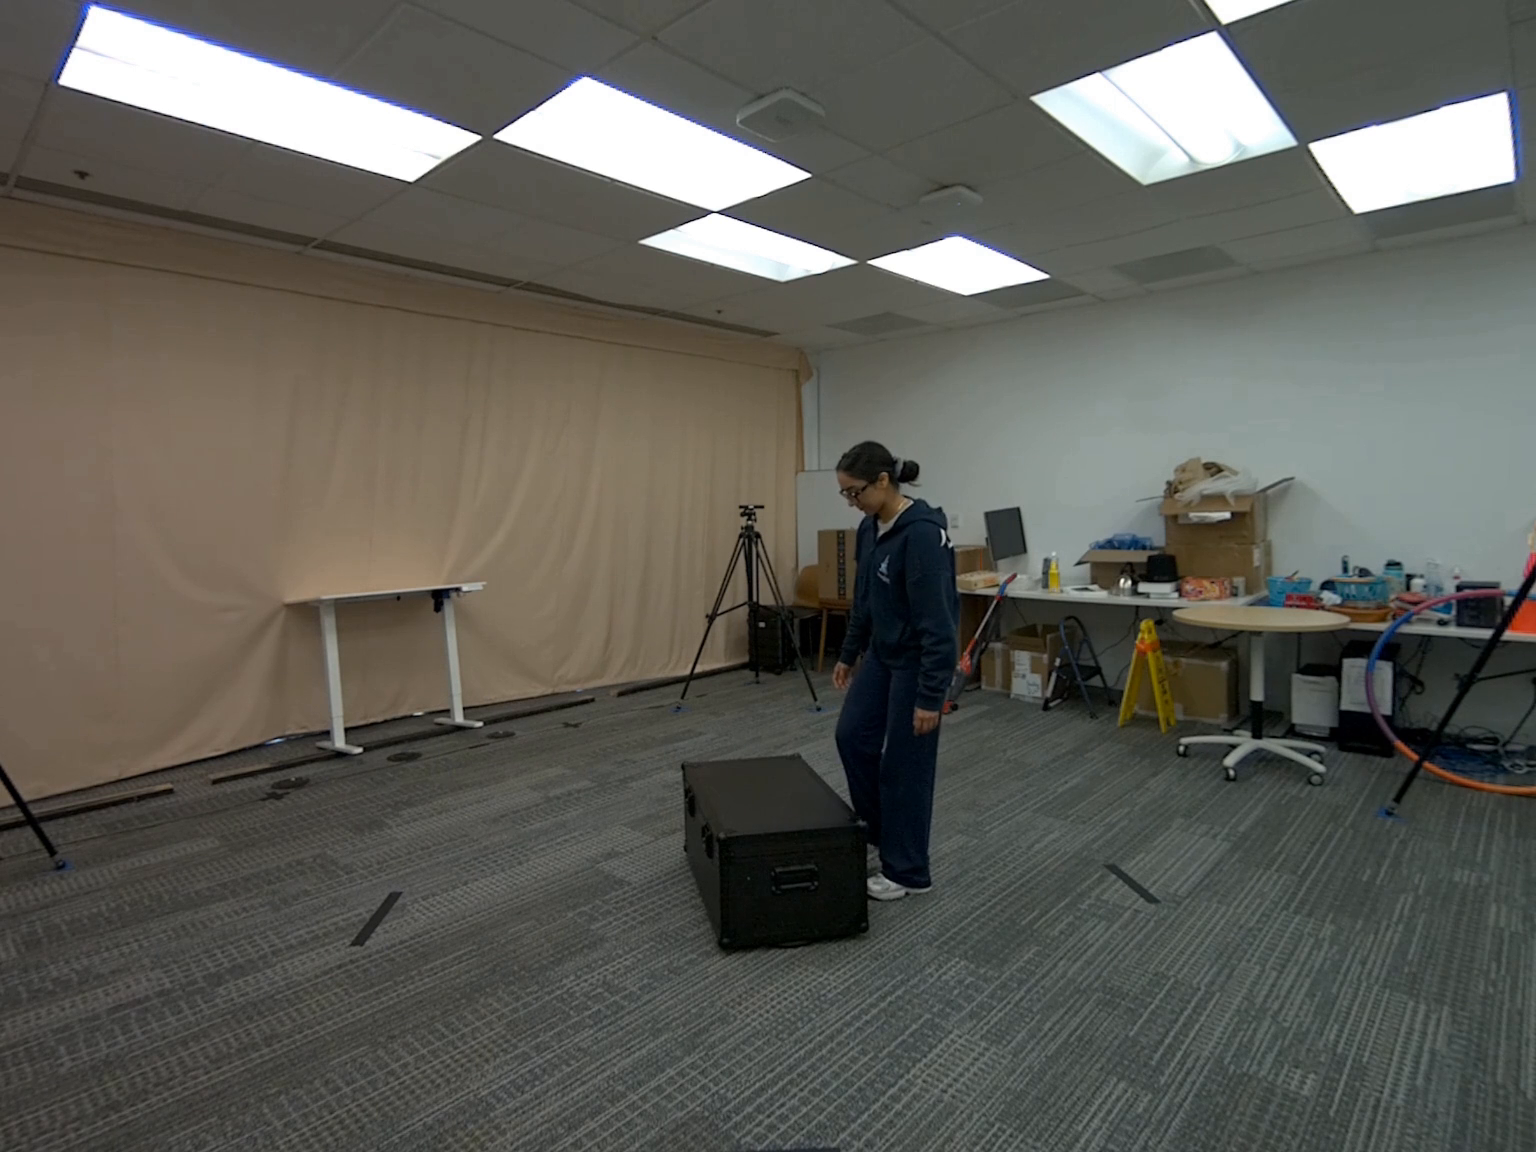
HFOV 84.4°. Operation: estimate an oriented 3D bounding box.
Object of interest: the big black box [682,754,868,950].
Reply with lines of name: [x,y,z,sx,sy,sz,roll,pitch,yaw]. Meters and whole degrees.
big black box: [-0.013,0.946,3.044,0.514,0.395,0.875,-2,5,-13]
